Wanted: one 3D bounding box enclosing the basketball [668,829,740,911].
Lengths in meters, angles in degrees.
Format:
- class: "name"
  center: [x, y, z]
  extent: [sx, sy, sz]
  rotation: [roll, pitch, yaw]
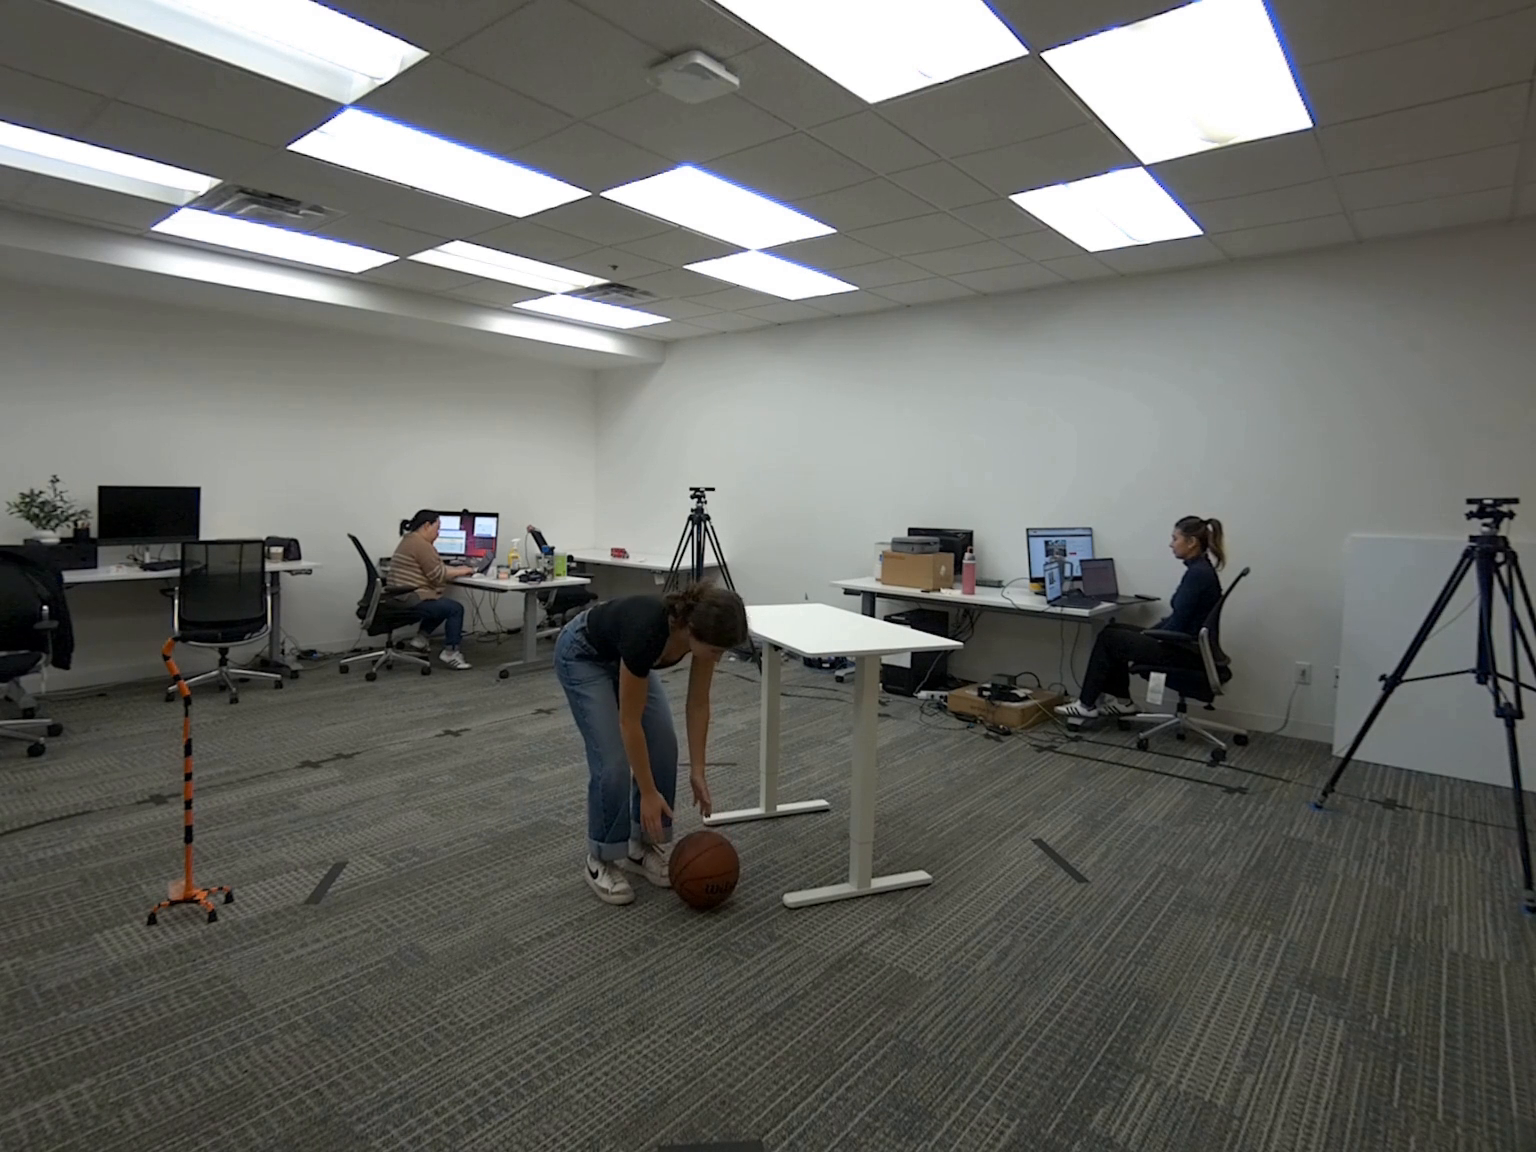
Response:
- class: "basketball"
  center: [-0.224, 0.972, 2.838]
  extent: [0.235, 0.235, 0.237]
  rotation: [1, 4, -2]
